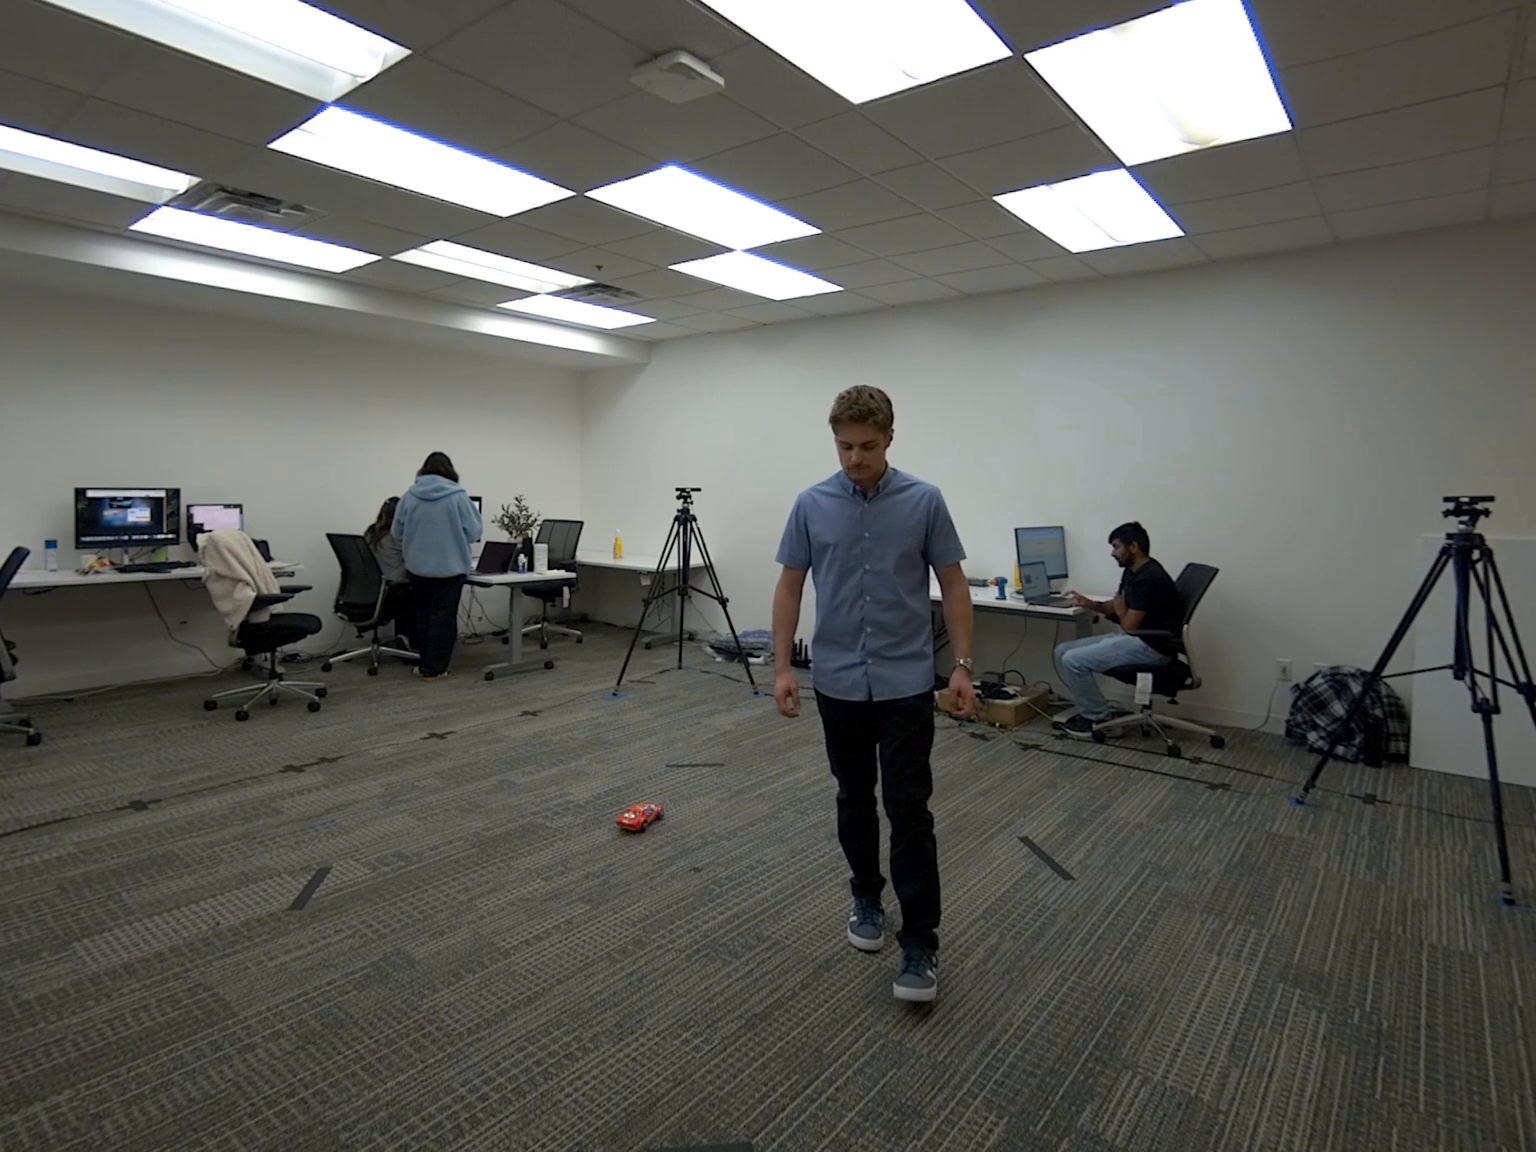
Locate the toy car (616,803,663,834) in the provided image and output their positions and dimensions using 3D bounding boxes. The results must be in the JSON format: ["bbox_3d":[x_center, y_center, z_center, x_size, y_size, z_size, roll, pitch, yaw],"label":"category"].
[{"bbox_3d":[-0.544,0.992,3.508,0.134,0.084,0.247,3,-6,24],"label":"toy car"}]
